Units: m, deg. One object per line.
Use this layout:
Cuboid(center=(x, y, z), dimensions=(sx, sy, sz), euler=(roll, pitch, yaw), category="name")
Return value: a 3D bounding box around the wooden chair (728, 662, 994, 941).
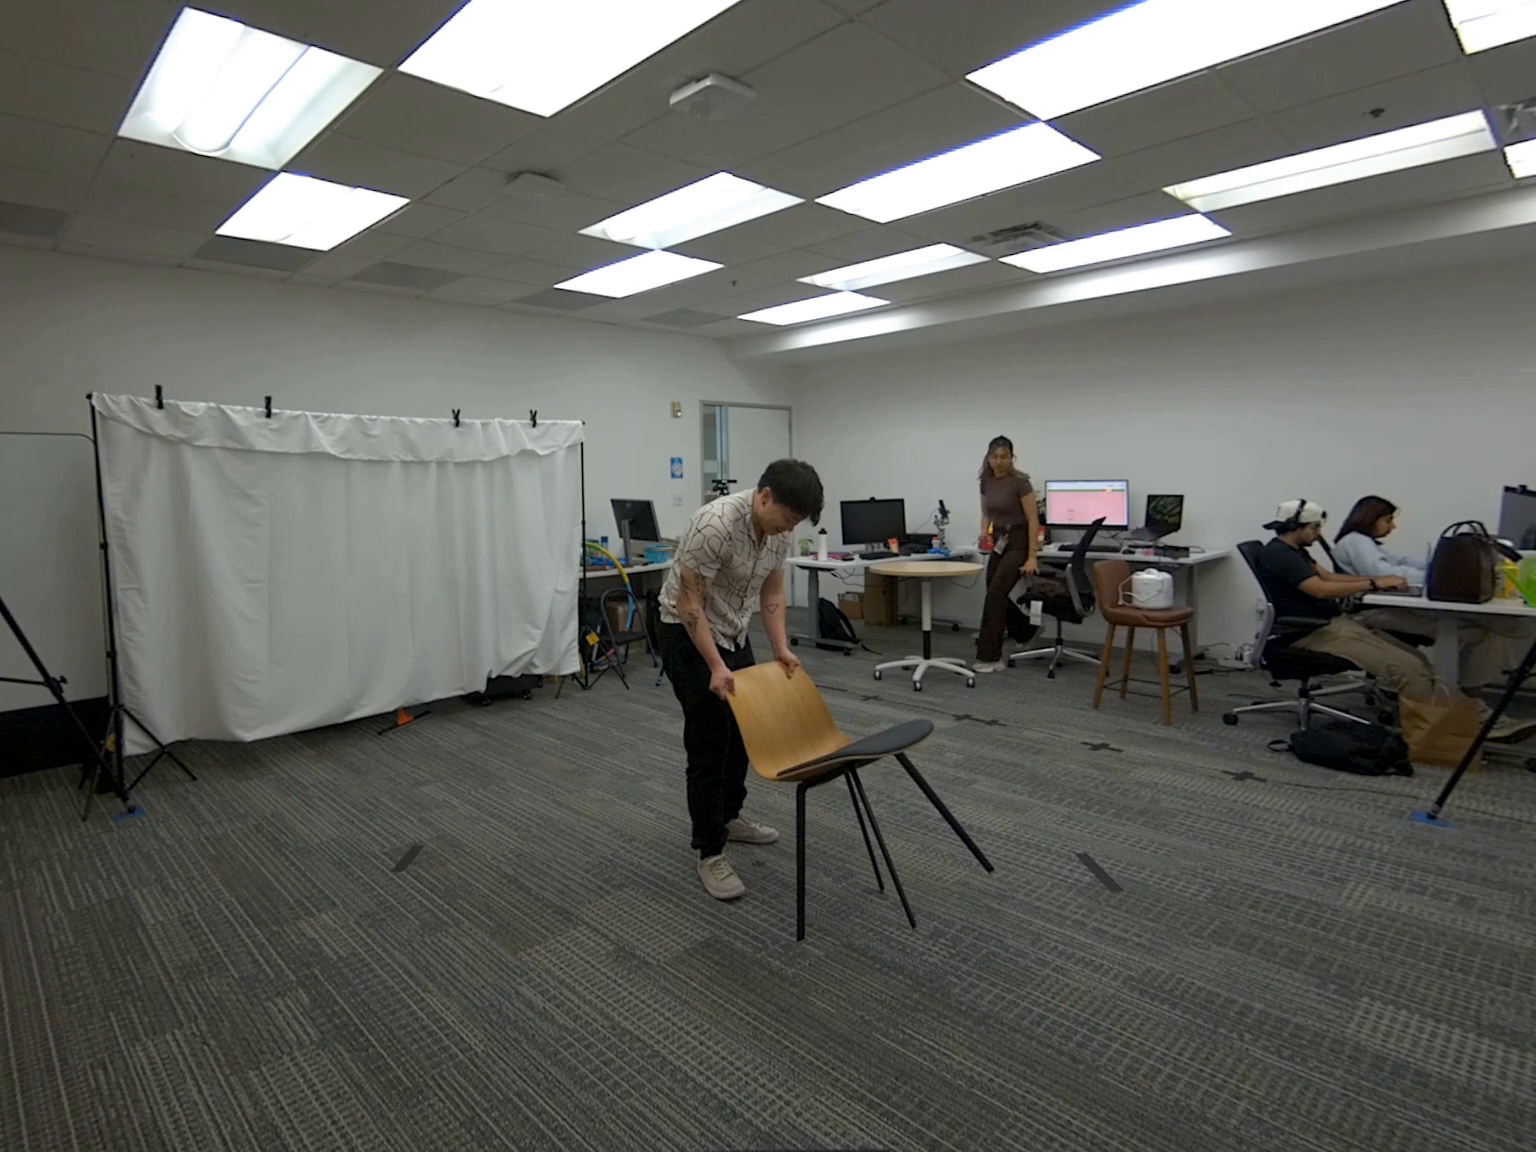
Cuboid(center=(0.253, 0.602, 2.686), dimensions=(0.465, 0.895, 0.527), euler=(-5, -23, -46), category="wooden chair")
